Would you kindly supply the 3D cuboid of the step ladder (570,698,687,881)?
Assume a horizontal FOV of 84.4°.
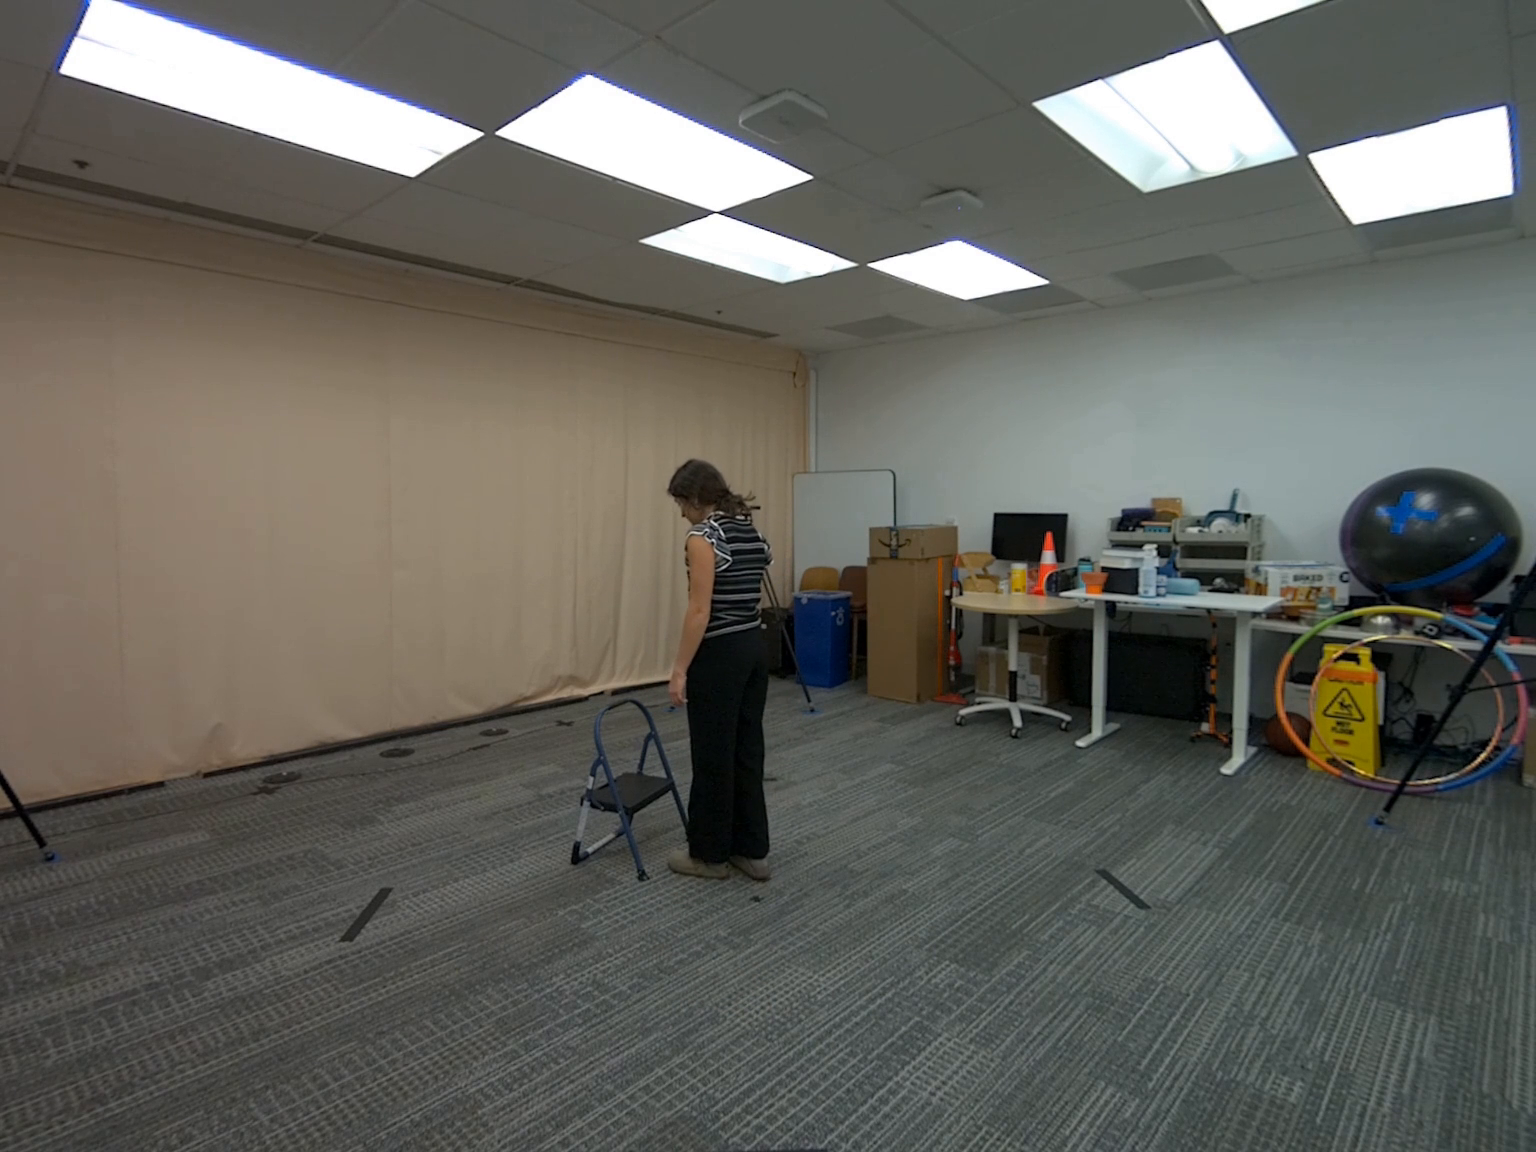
[{"bbox_3d":[-0.541,0.814,3.385,0.358,0.605,0.421,1,3,24],"label":"step ladder"}]
